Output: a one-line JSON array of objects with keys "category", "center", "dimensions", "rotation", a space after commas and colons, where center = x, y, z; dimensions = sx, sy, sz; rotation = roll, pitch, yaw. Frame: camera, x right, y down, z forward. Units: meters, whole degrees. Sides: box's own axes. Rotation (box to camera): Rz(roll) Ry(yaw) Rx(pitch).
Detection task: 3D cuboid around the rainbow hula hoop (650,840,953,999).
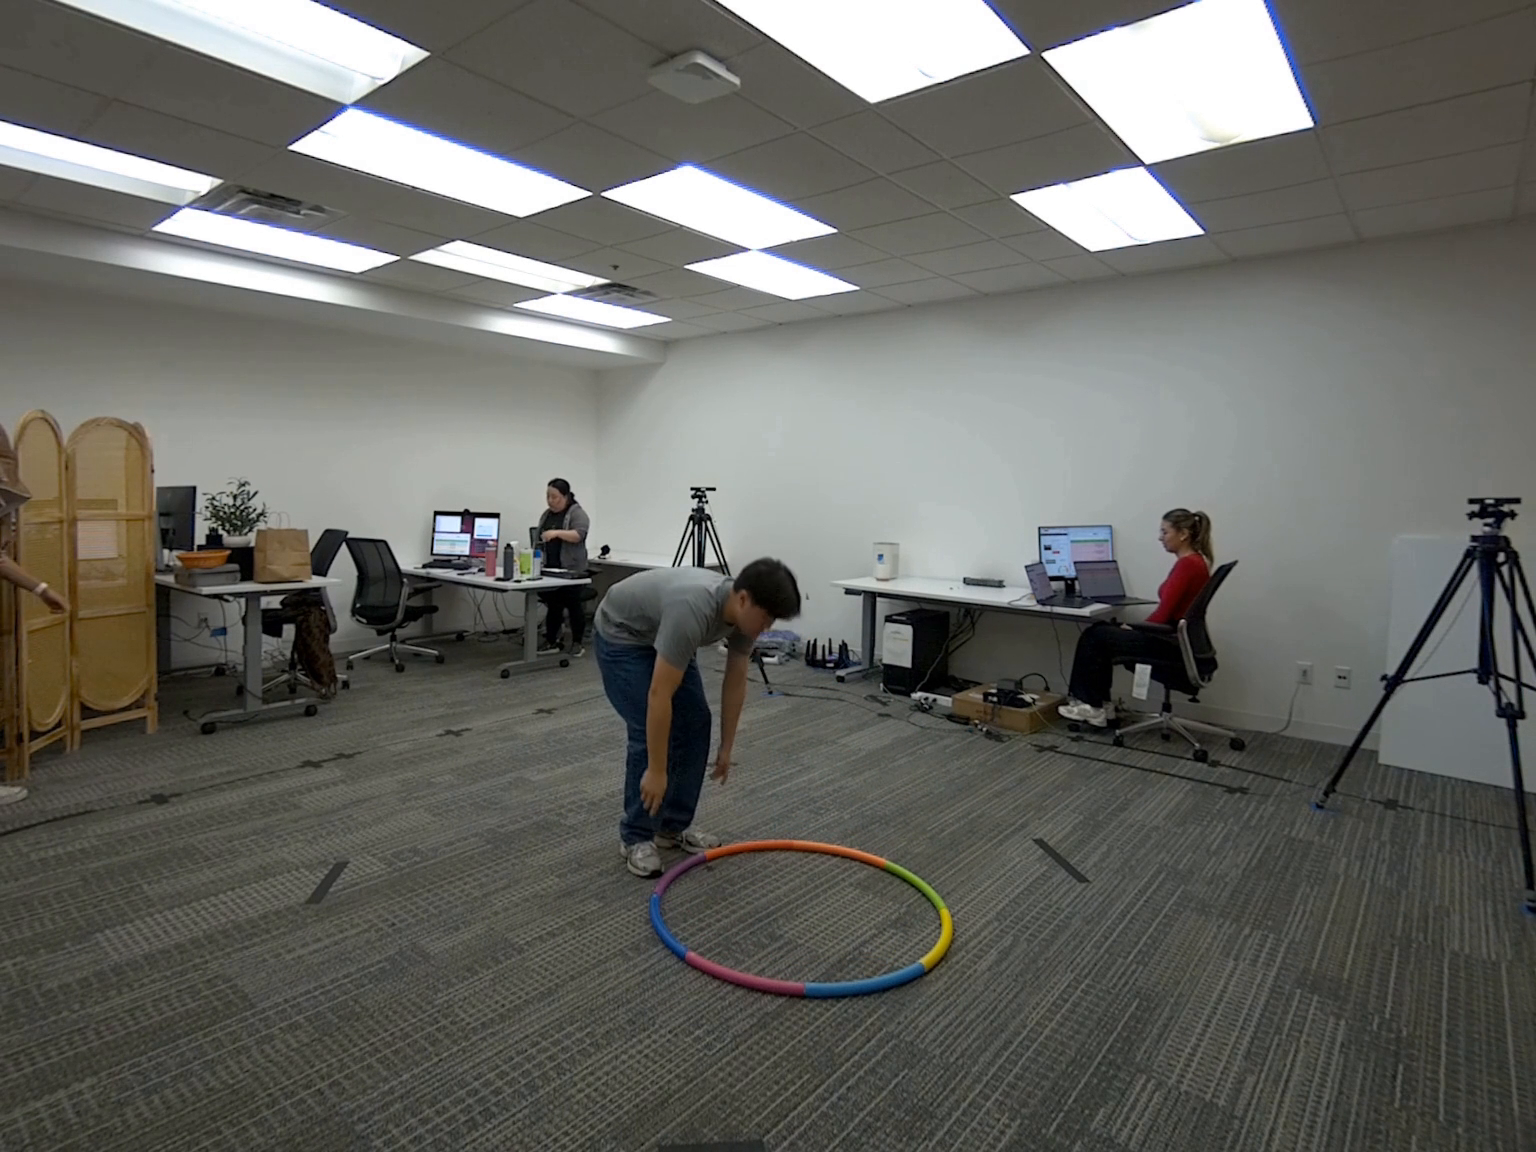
[{"category": "rainbow hula hoop", "center": [0.088, 1.074, 2.808], "dimensions": [0.978, 0.035, 0.984], "rotation": [1, 6, -2]}]
